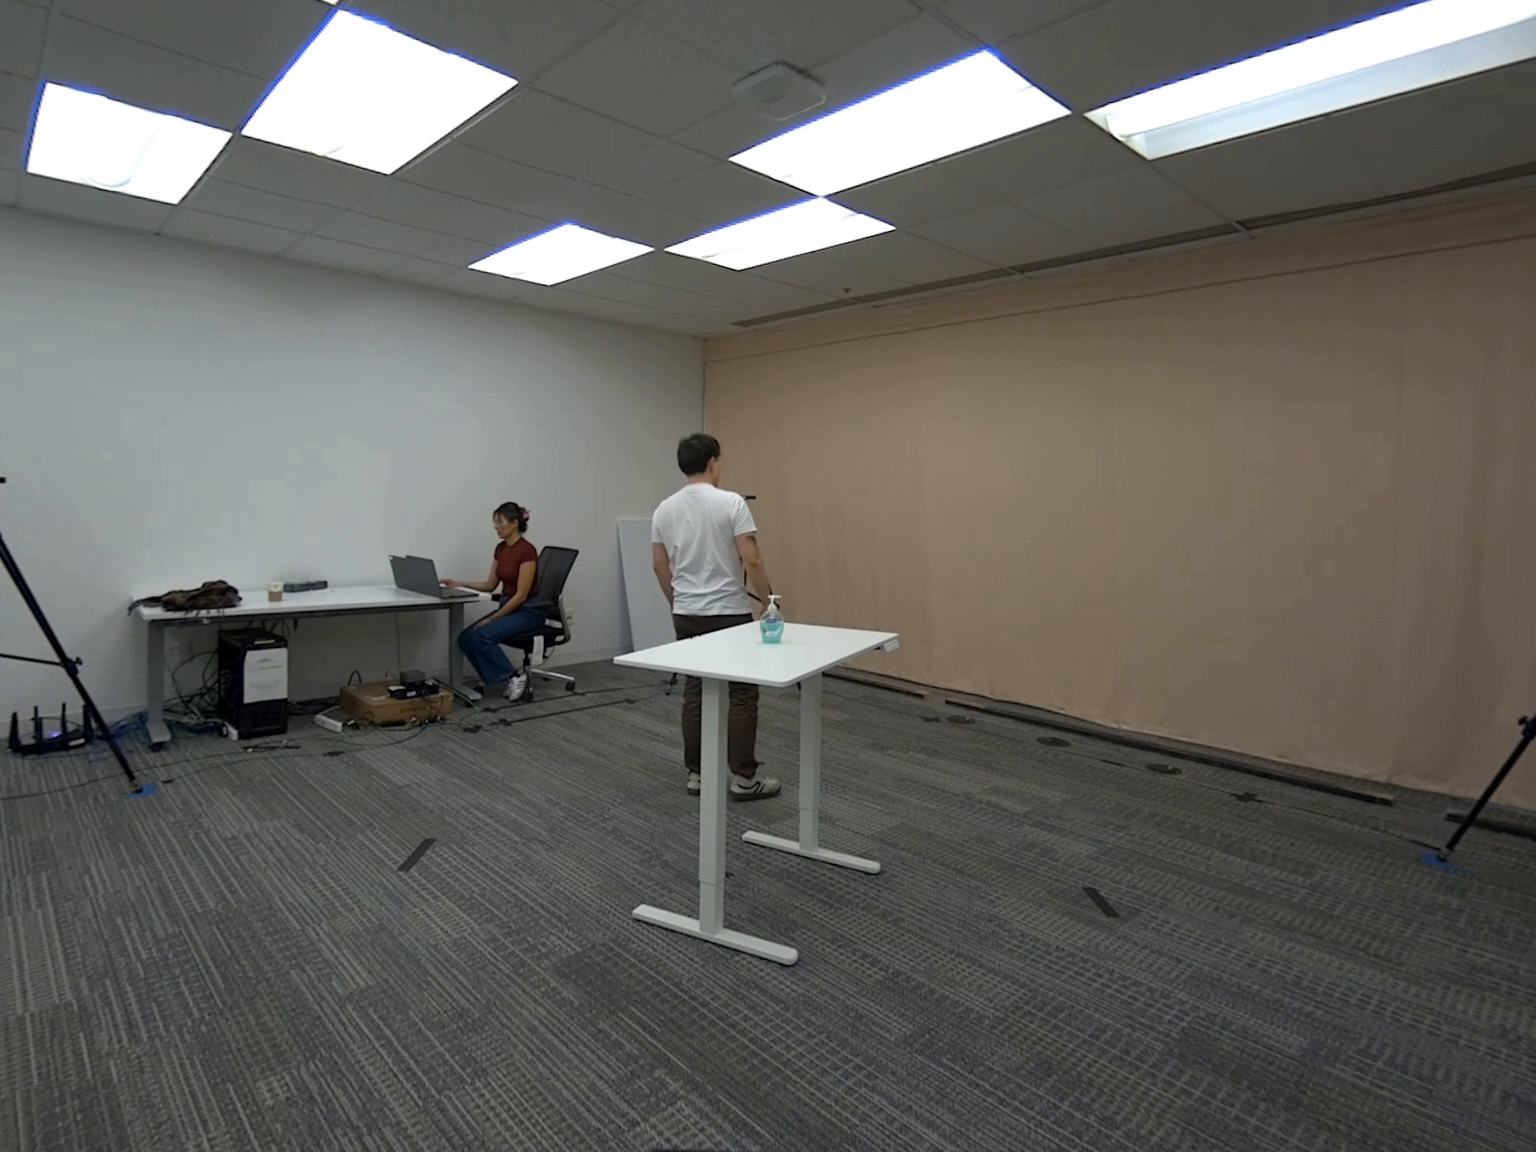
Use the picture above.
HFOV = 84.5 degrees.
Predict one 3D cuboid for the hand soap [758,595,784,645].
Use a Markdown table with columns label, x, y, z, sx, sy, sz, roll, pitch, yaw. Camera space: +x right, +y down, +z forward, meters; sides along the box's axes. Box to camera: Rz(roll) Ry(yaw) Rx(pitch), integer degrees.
| label | x | y | z | sx | sy | sz | roll | pitch | yaw |
| --- | --- | --- | --- | --- | --- | --- | --- | --- | --- |
| hand soap | 0.010 | 0.156 | 2.960 | 0.084 | 0.167 | 0.043 | 3 | 6 | -3 |
